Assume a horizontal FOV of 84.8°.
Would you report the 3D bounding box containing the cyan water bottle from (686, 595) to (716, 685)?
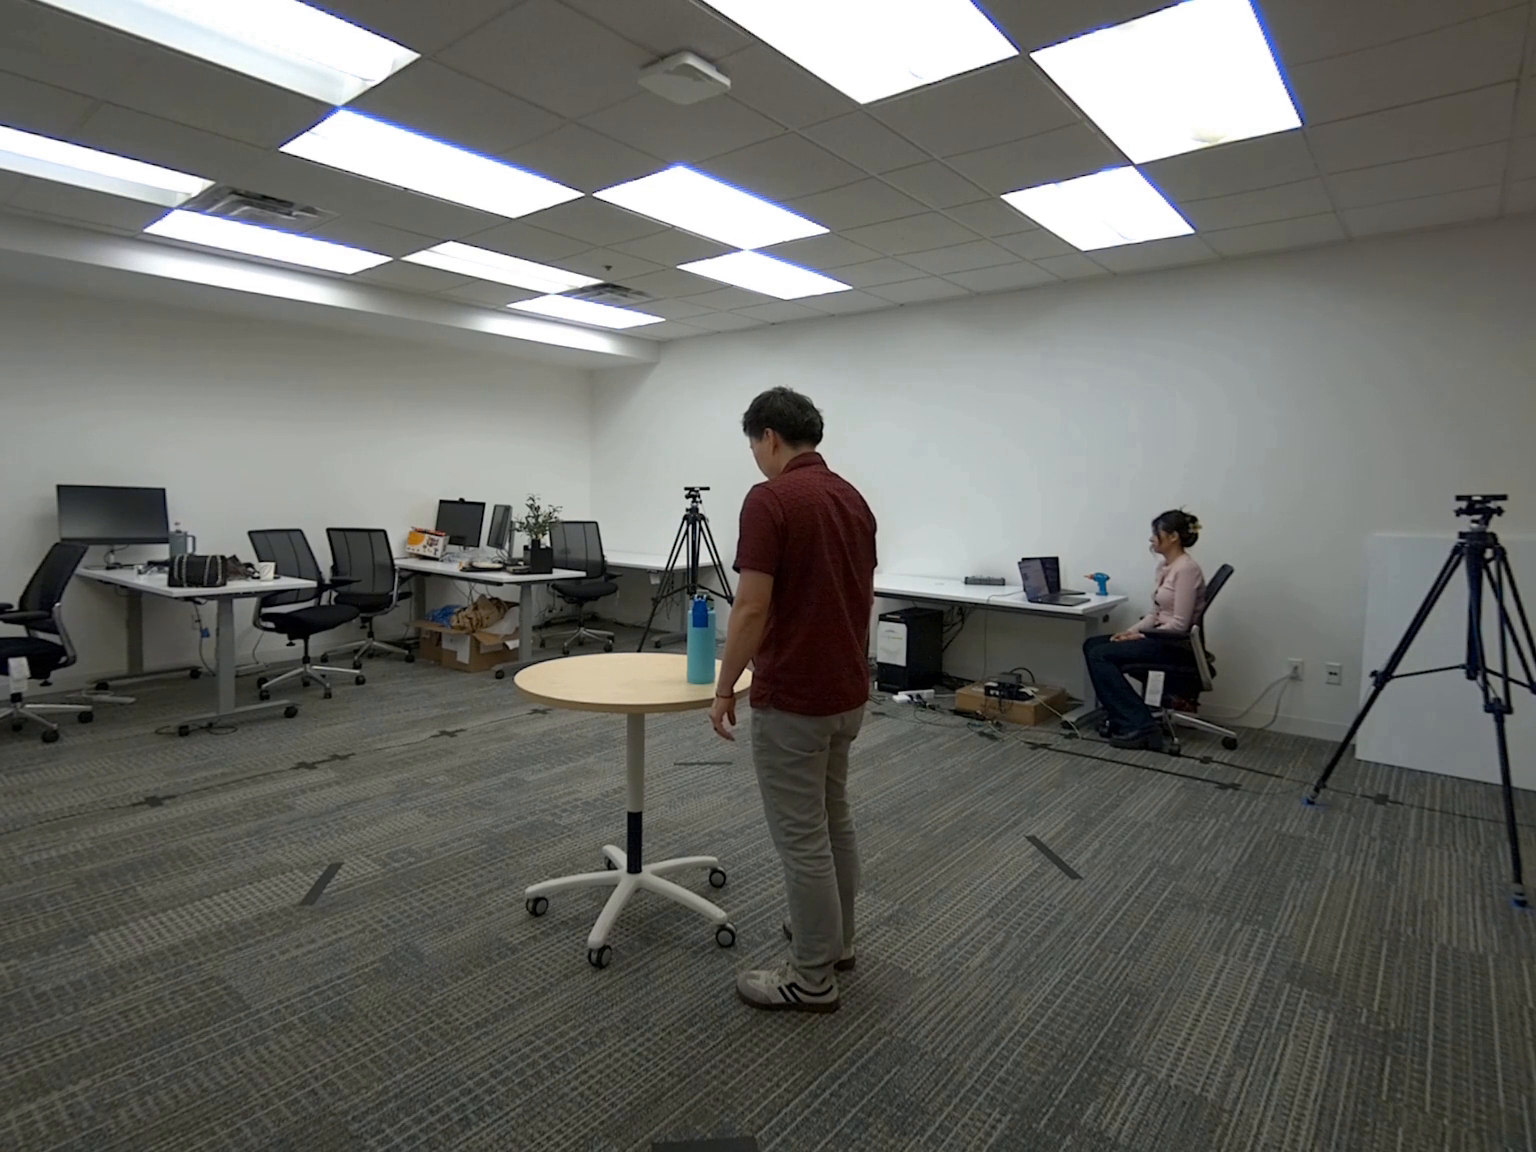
[{"bbox_3d":[-0.215,0.188,2.653,0.092,0.283,0.093,2,2,-2],"label":"cyan water bottle"}]
